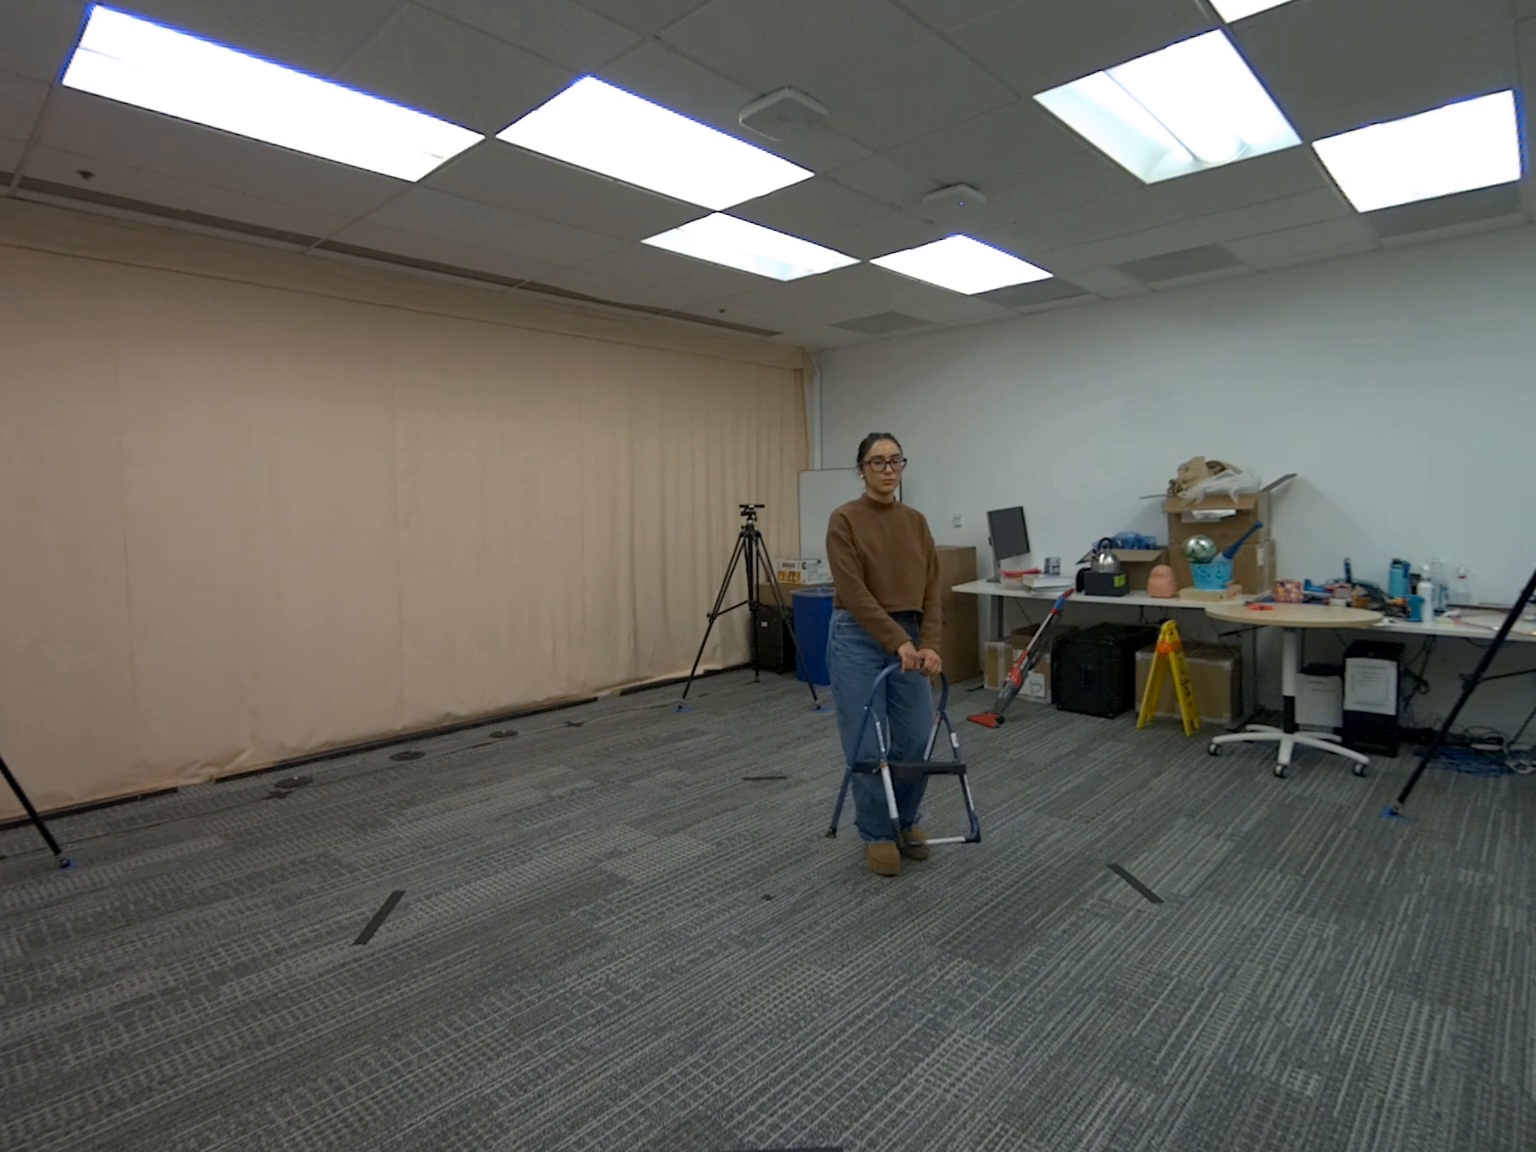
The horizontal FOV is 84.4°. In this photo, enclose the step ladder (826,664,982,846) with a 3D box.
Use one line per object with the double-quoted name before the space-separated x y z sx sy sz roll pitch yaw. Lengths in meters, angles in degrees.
"step ladder" 0.470 0.614 2.967 0.416 0.610 0.359 9 -13 -39
